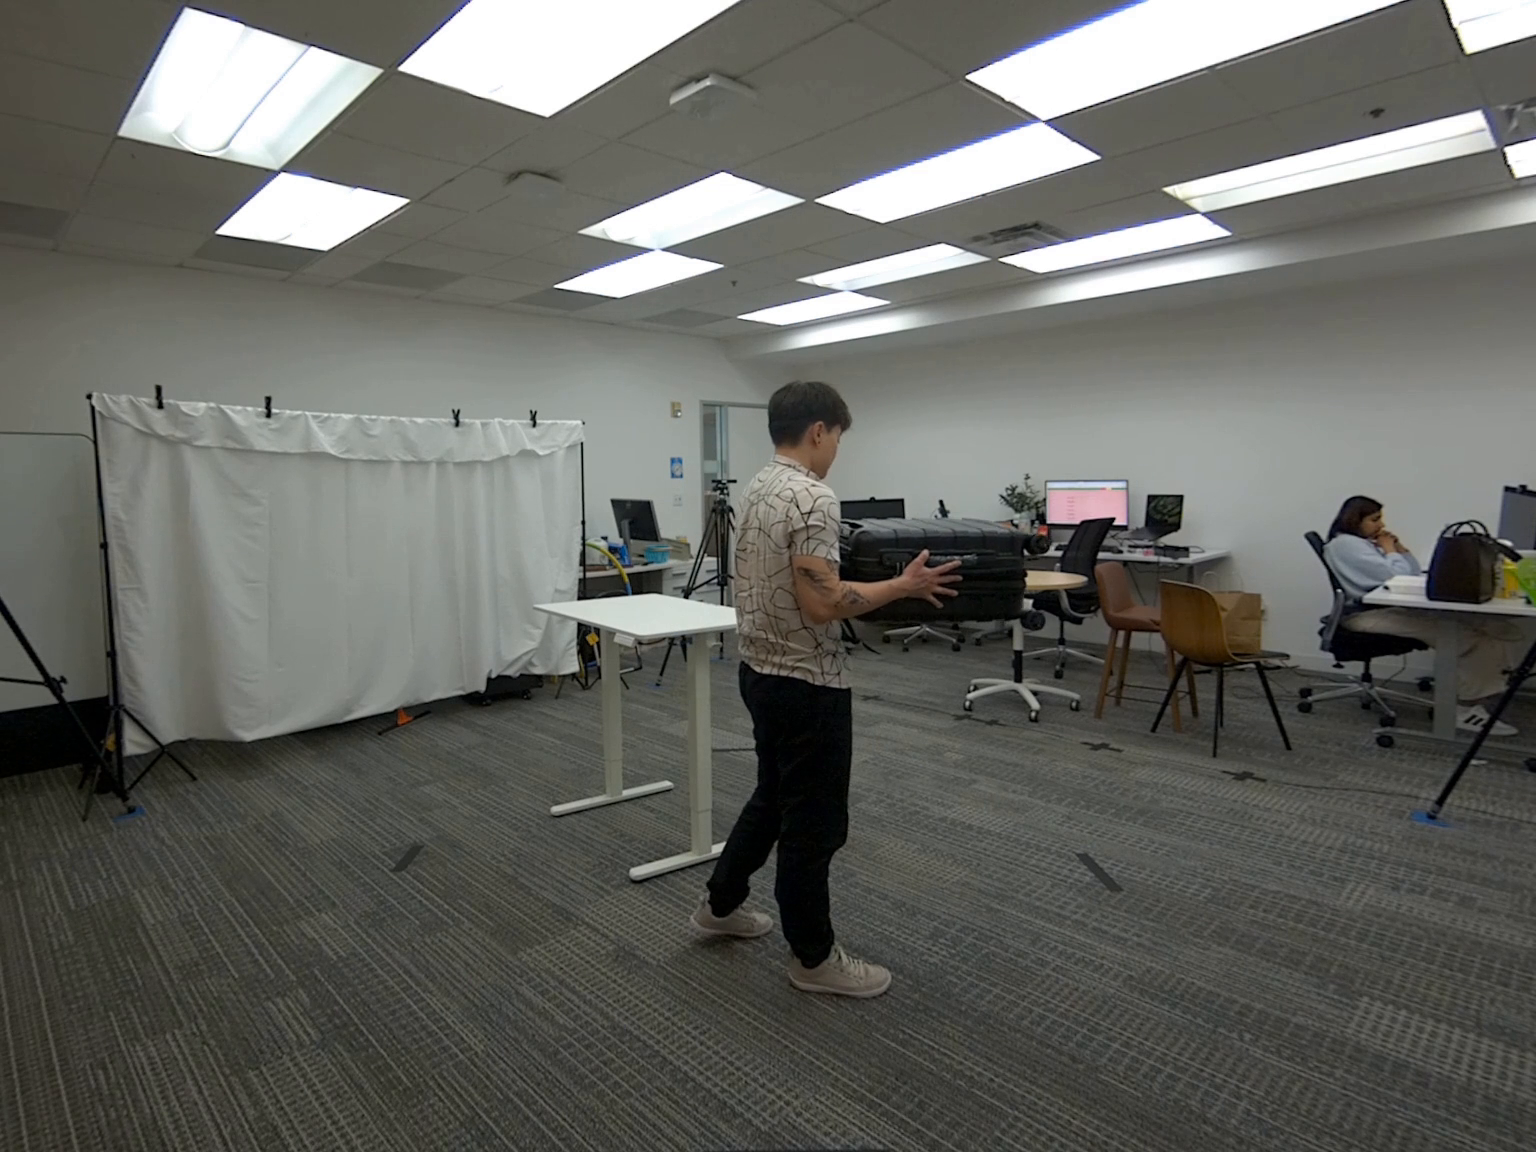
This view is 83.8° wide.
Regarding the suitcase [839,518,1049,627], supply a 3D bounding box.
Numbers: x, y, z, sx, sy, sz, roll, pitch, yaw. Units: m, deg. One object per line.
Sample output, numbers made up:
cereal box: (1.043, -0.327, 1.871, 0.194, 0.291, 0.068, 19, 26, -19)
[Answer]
suitcase: (0.451, -0.023, 2.411, 0.543, 0.247, 0.382, 0, 8, -11)
